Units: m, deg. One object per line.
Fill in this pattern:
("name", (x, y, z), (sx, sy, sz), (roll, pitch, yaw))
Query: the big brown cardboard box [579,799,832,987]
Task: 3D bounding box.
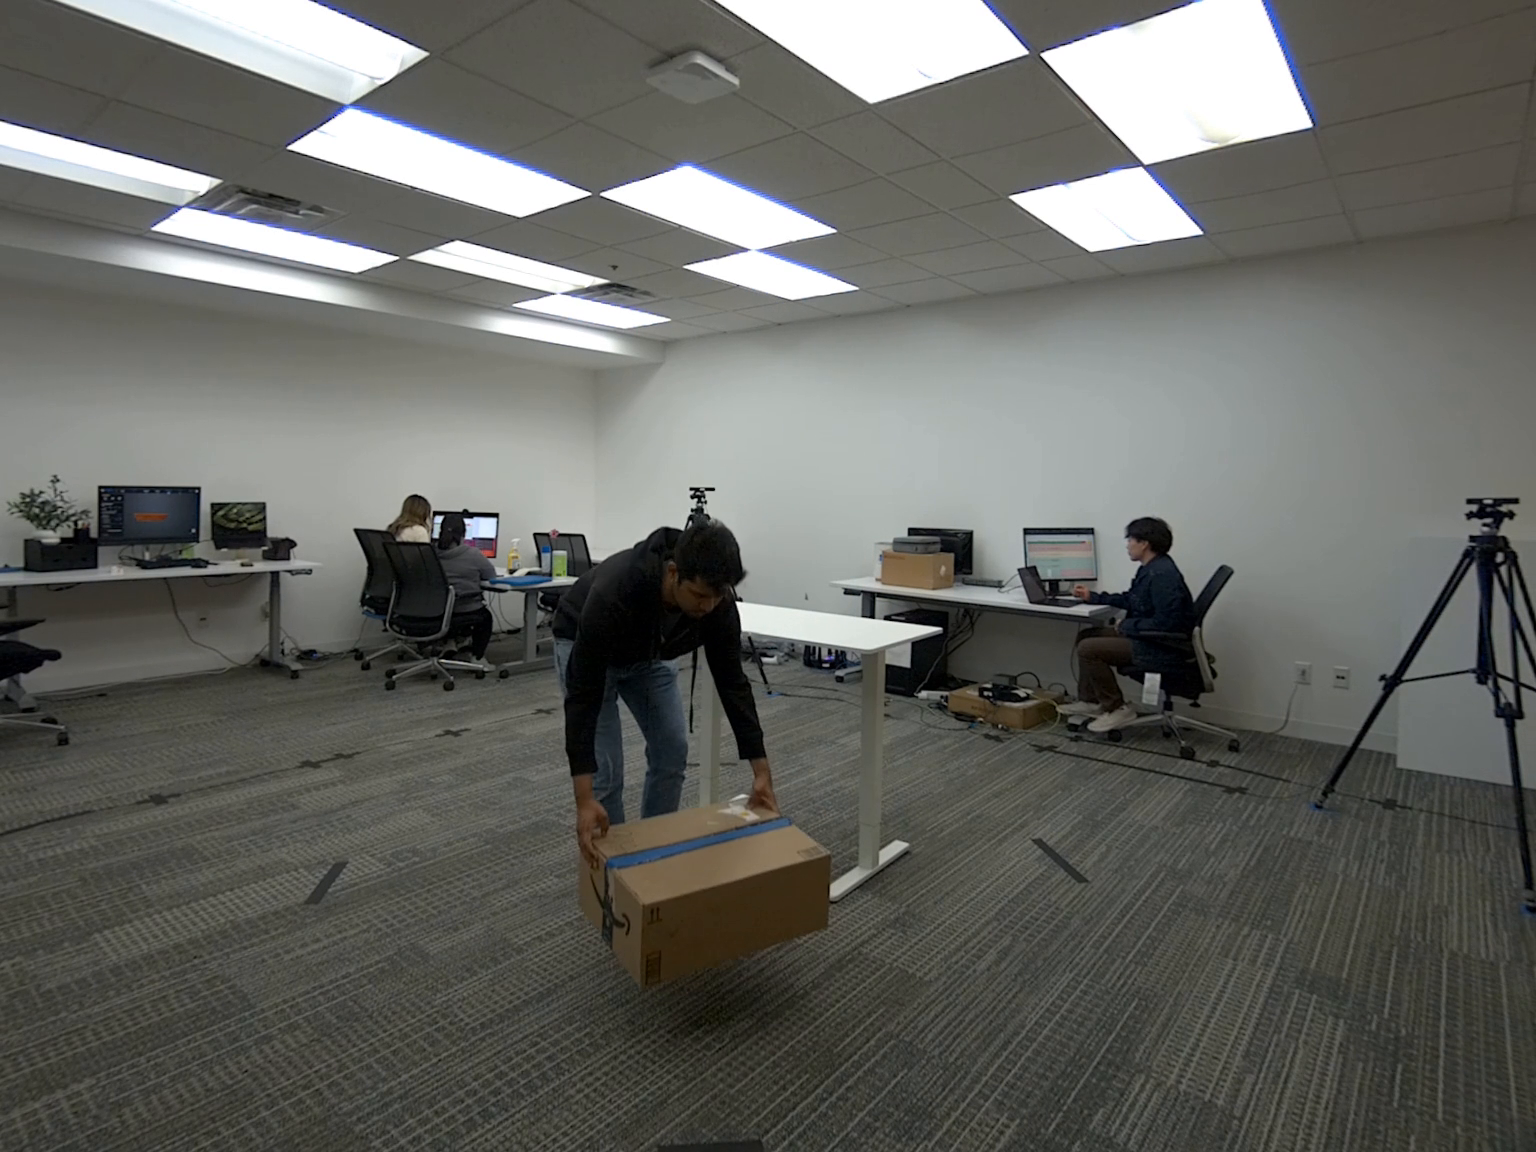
("big brown cardboard box", (-0.175, 0.822, 2.326), (0.573, 0.231, 0.432), (-5, 10, -32))
